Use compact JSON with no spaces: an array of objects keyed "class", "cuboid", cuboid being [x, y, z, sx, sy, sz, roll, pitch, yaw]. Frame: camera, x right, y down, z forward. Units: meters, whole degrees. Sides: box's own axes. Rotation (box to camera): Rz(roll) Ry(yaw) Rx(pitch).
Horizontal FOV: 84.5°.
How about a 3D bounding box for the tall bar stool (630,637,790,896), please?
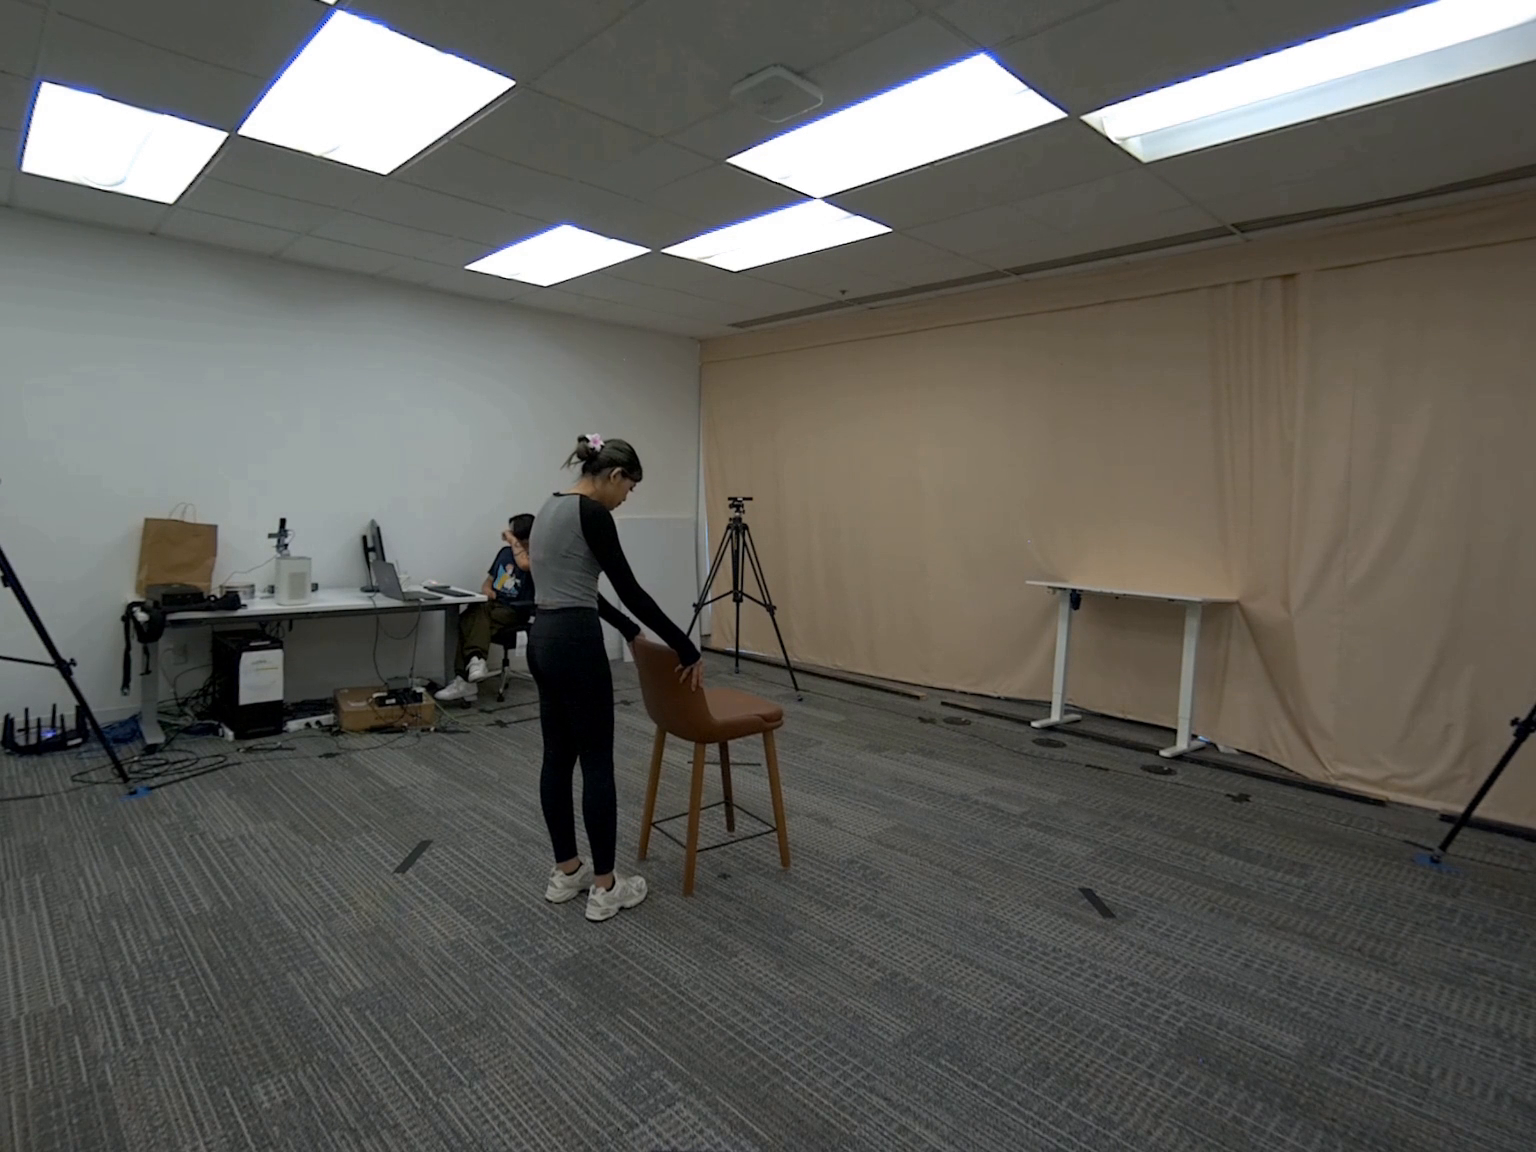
[{"class":"tall bar stool","cuboid":[-0.231,0.656,3.172,0.458,0.885,0.468,-6,8,-34]}]
